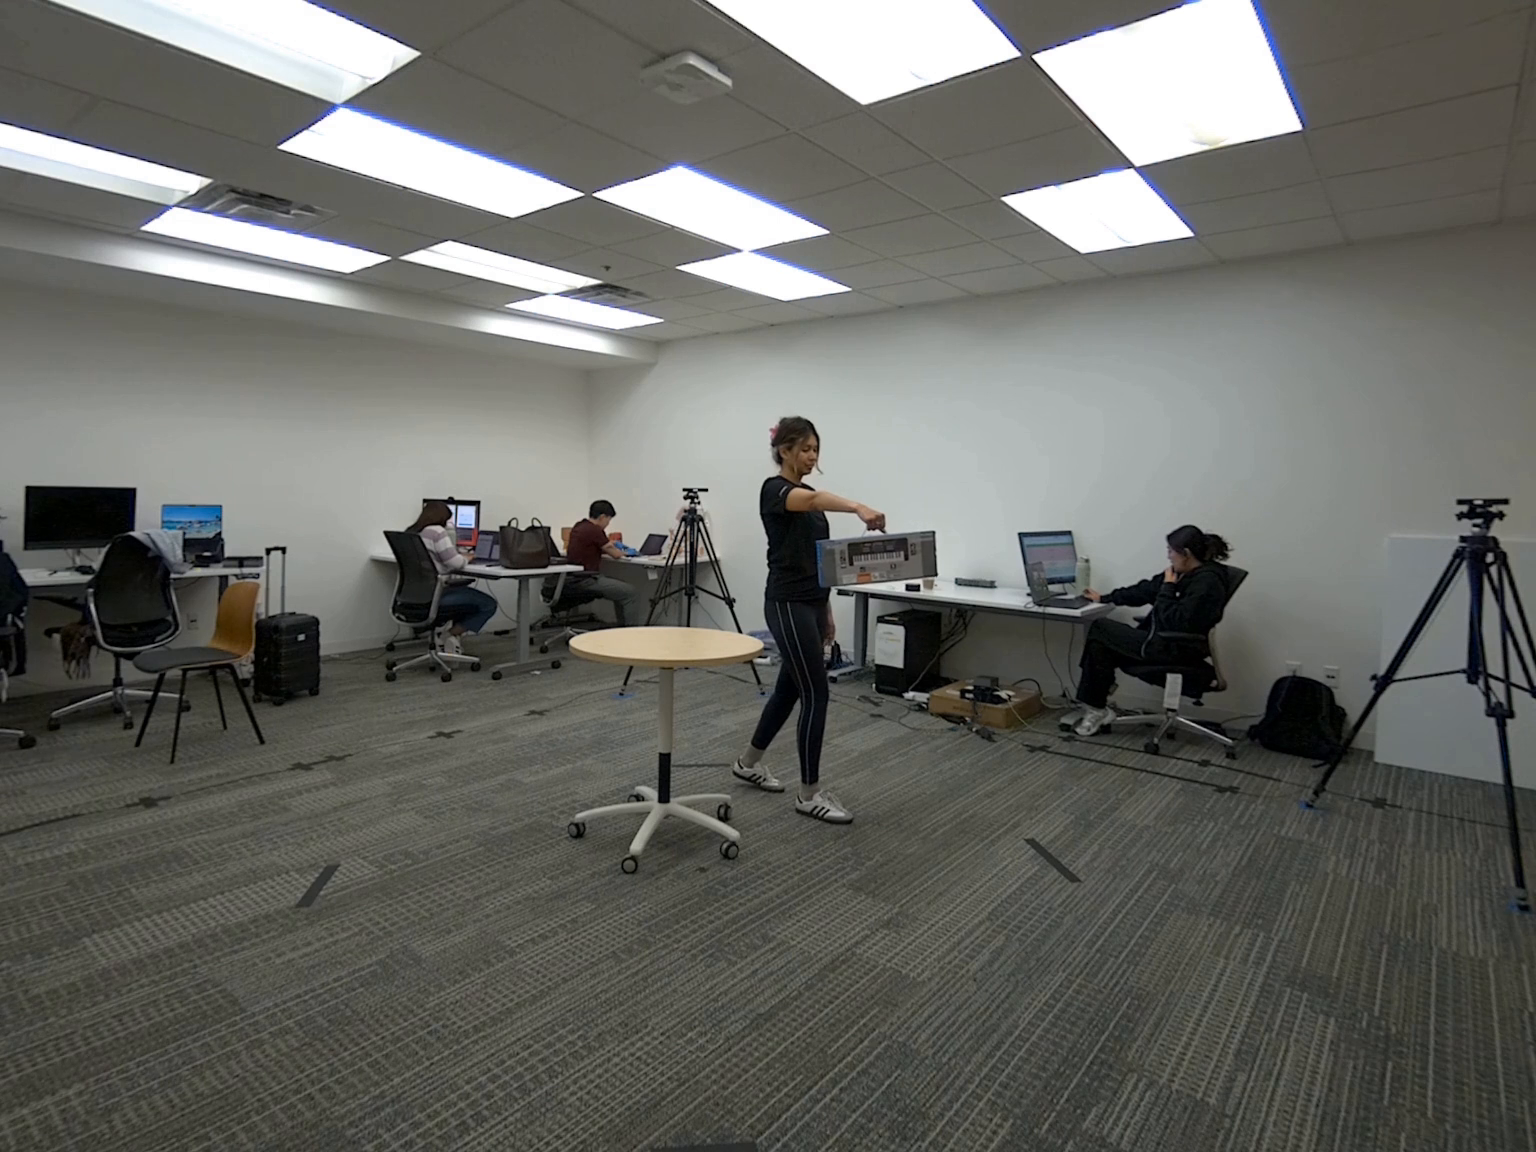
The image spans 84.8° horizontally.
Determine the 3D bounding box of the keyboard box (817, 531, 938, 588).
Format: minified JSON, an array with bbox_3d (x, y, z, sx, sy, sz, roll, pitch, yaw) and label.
[{"bbox_3d":[0.404,-0.073,3.153,0.435,0.175,0.059,-6,4,-4],"label":"keyboard box"}]
